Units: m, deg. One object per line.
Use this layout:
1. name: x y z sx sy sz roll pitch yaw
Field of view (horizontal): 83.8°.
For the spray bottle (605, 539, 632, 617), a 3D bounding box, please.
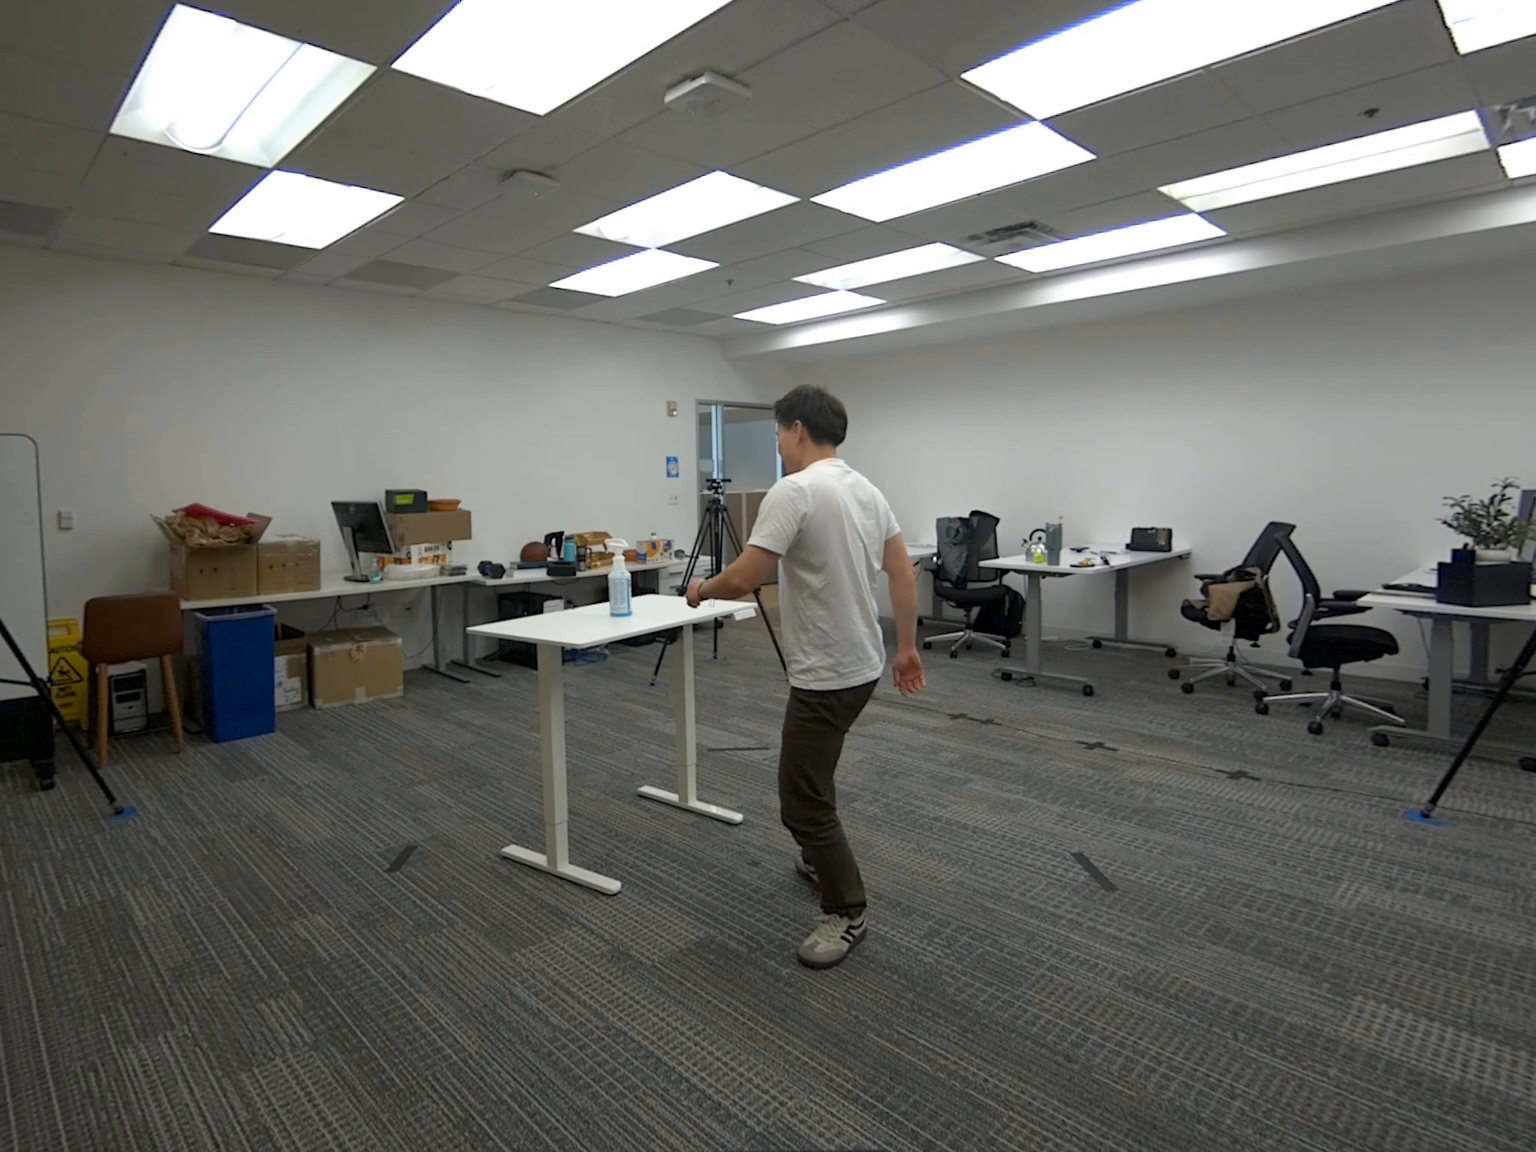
1. spray bottle: -0.573 0.007 3.291 0.092 0.296 0.085 0 5 32
